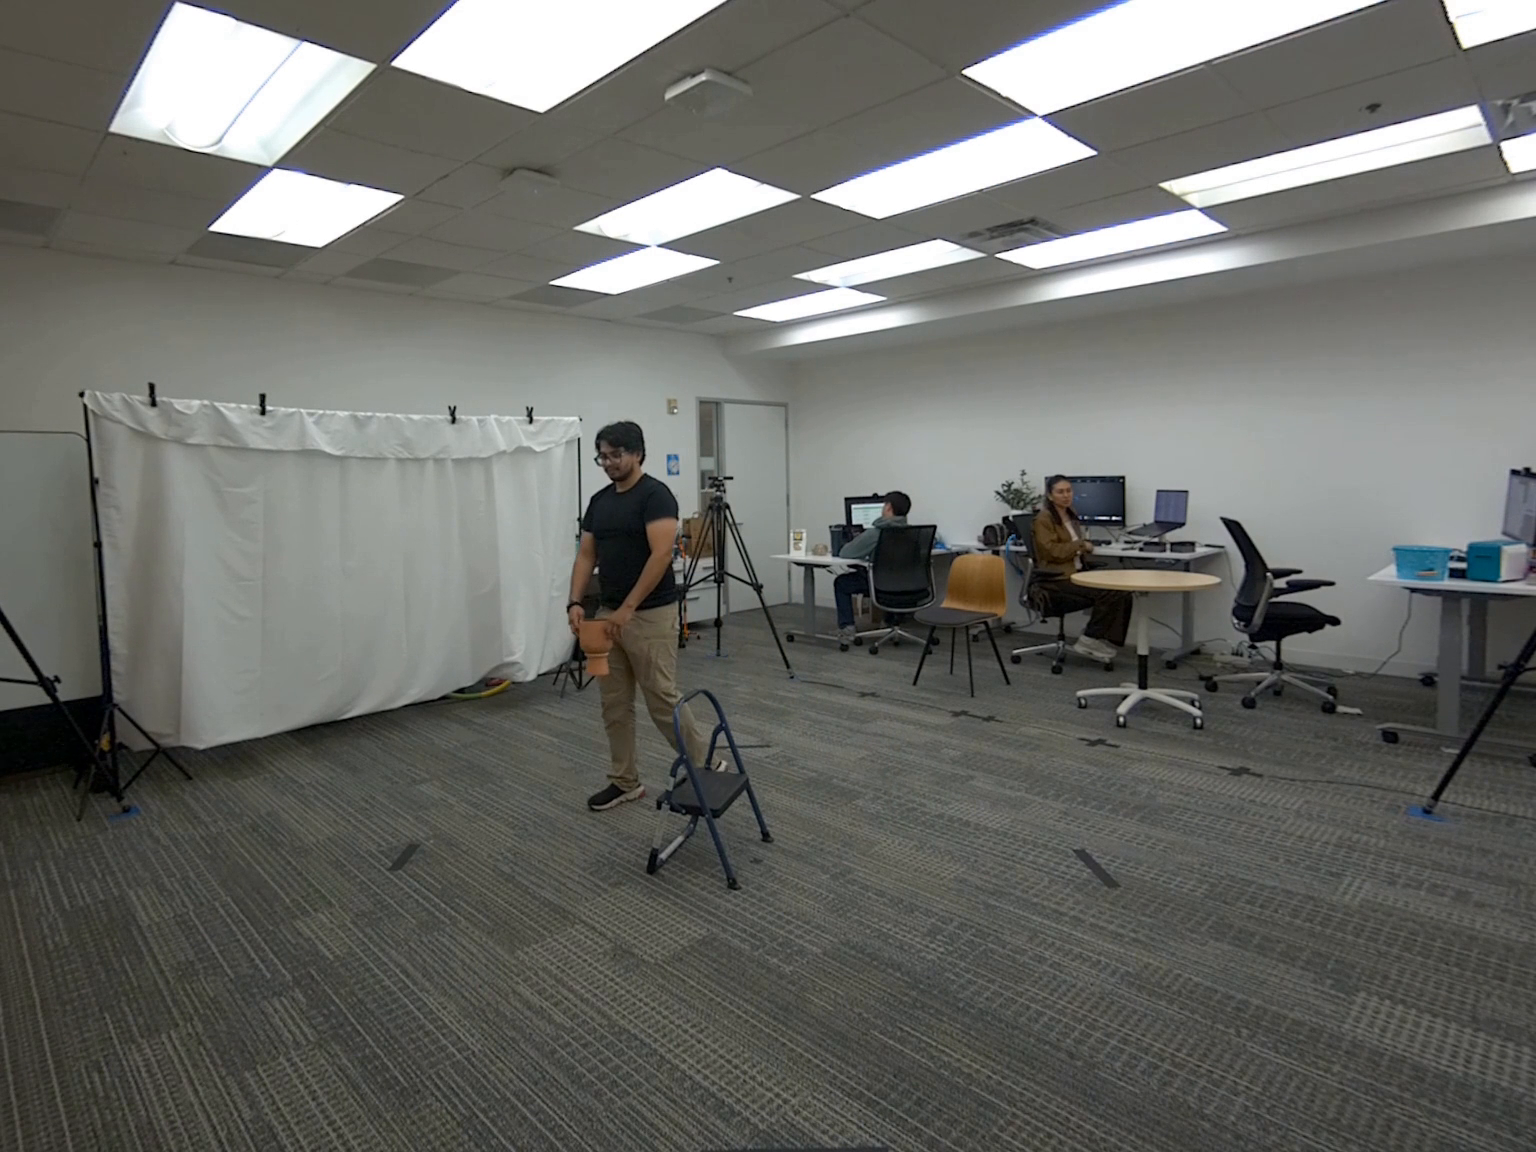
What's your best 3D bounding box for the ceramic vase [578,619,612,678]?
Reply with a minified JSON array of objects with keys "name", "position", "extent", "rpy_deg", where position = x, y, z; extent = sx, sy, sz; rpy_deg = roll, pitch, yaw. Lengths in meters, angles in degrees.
[{"name":"ceramic vase","position":[-0.700,0.291,3.494],"extent":[0.133,0.220,0.161],"rpy_deg":[-3,1,-12]}]
